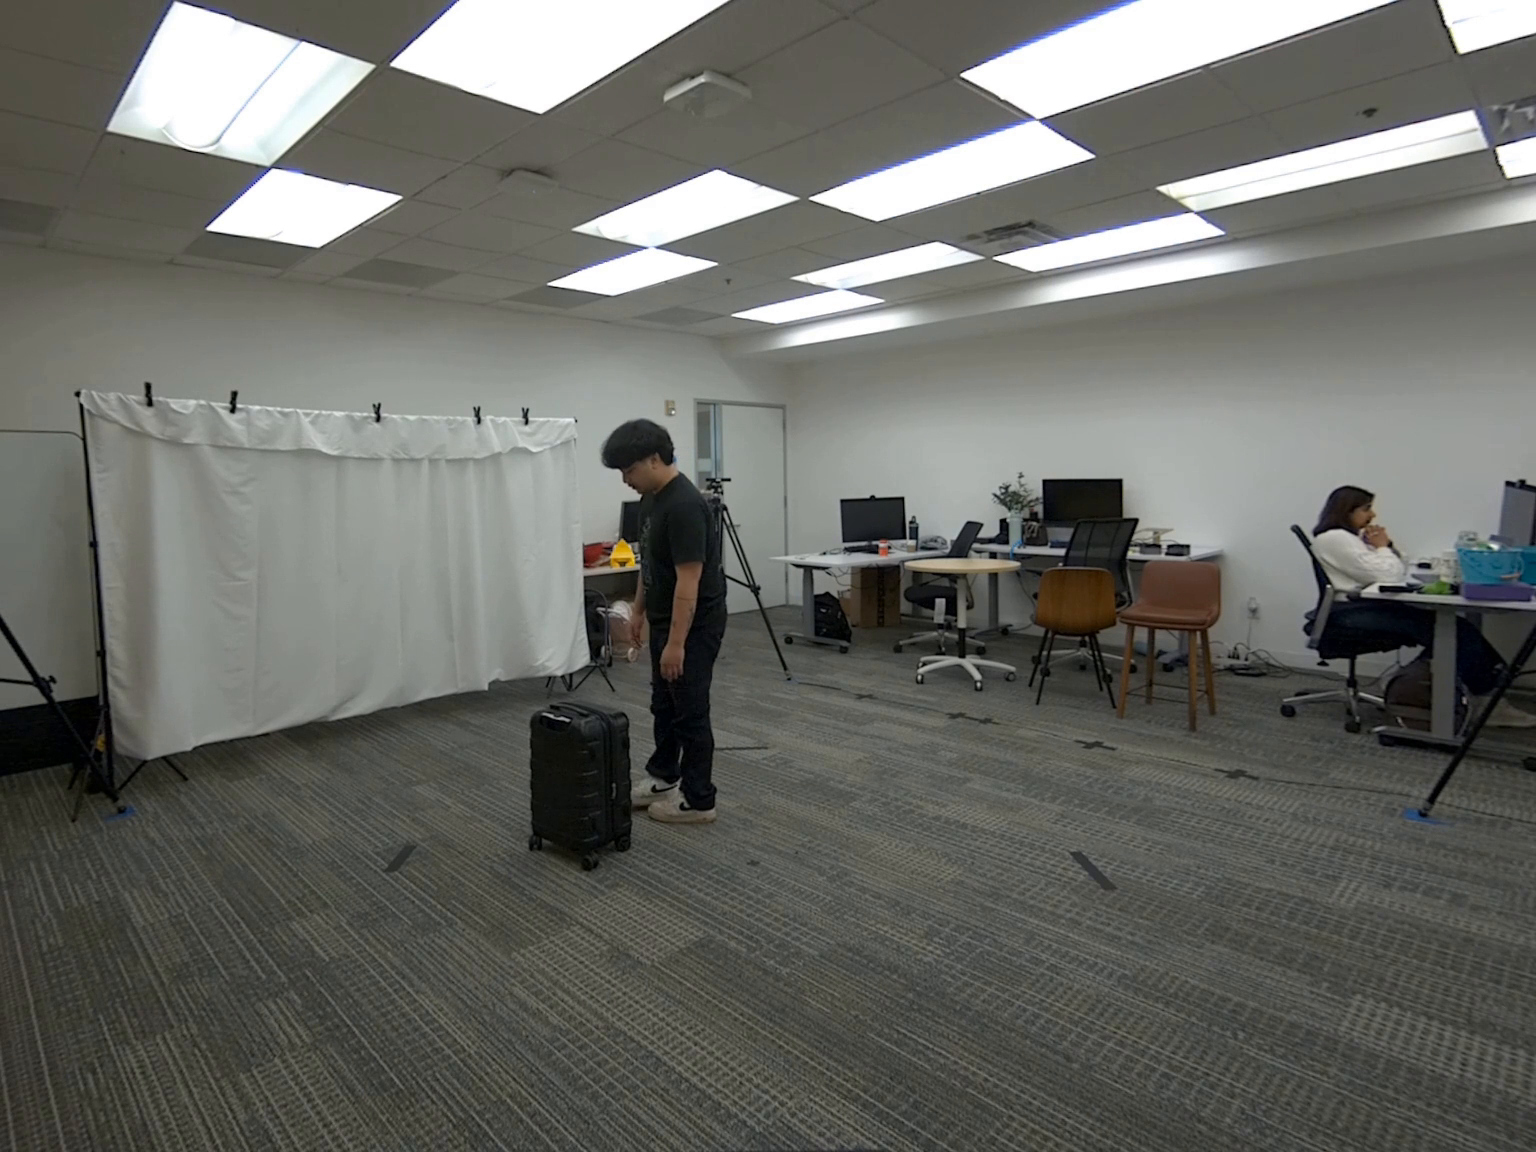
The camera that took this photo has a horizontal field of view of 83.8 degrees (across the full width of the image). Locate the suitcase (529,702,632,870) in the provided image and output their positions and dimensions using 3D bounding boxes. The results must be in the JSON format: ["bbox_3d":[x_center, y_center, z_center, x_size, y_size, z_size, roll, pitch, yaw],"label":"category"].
[{"bbox_3d":[-0.720,0.763,3.251,0.386,0.548,0.241,1,3,41],"label":"suitcase"}]
